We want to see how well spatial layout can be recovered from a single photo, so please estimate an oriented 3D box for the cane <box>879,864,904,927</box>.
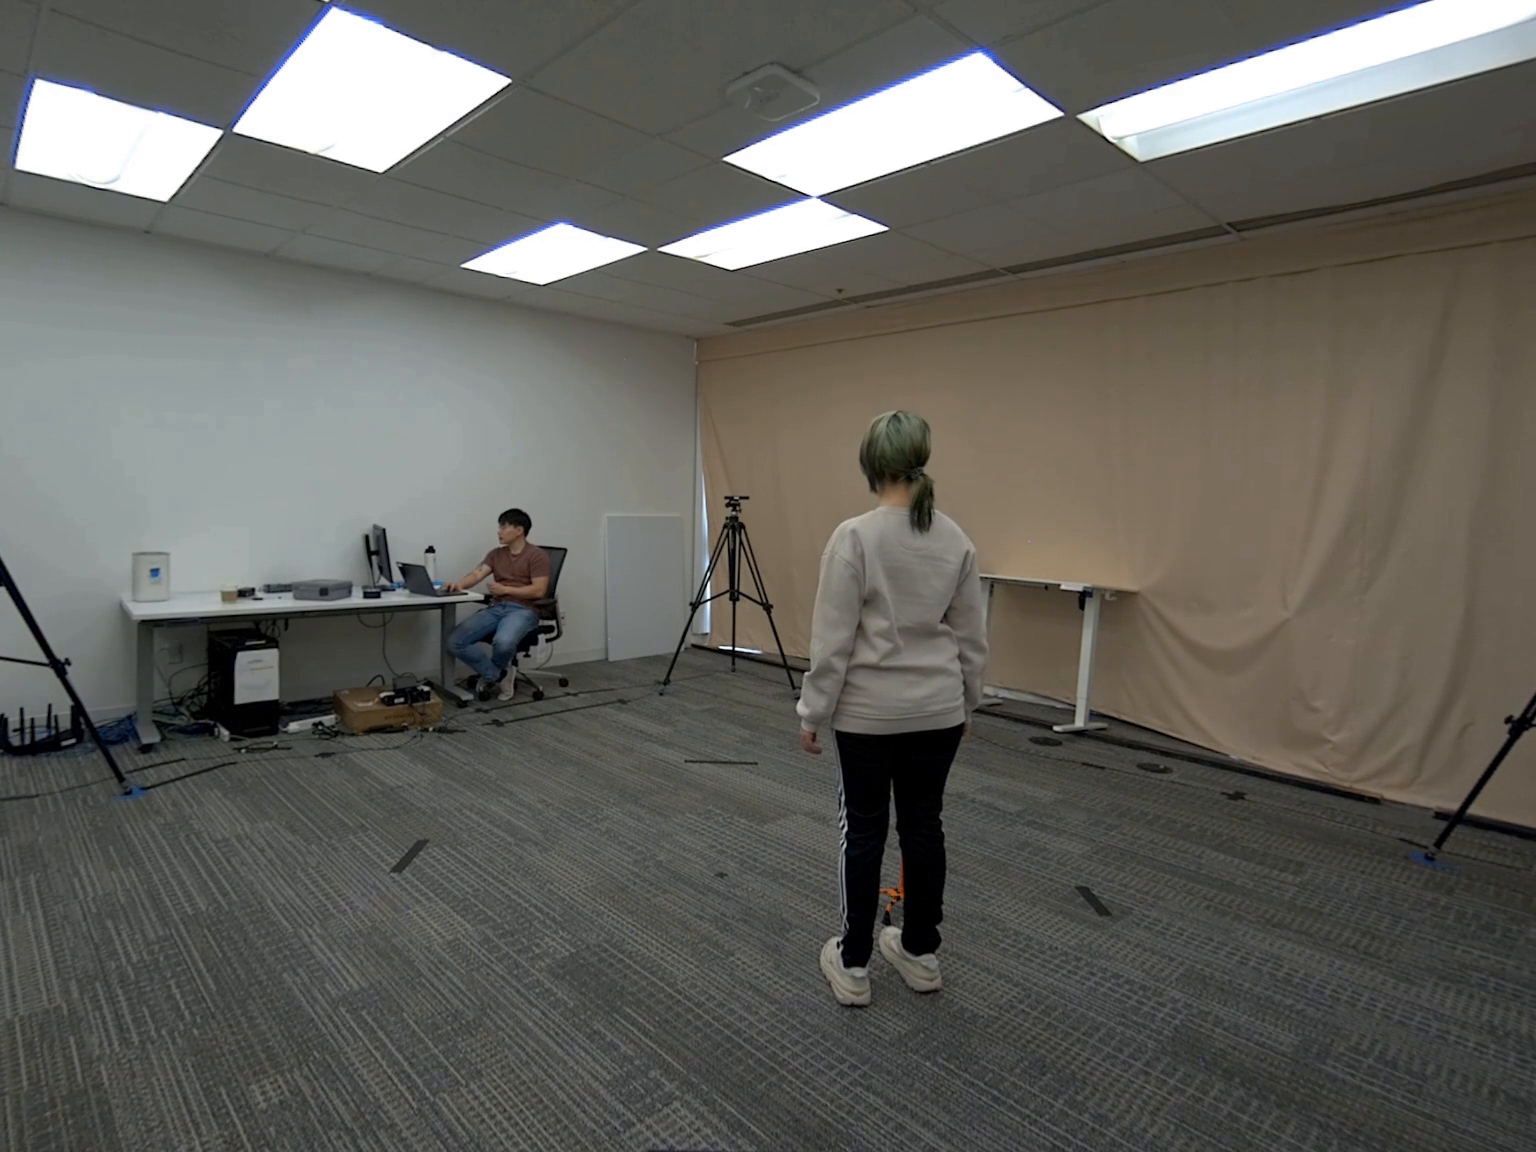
[{"bbox_3d":[0.466,0.695,2.823,0.204,0.905,0.153,0,4,-14],"label":"cane"}]
